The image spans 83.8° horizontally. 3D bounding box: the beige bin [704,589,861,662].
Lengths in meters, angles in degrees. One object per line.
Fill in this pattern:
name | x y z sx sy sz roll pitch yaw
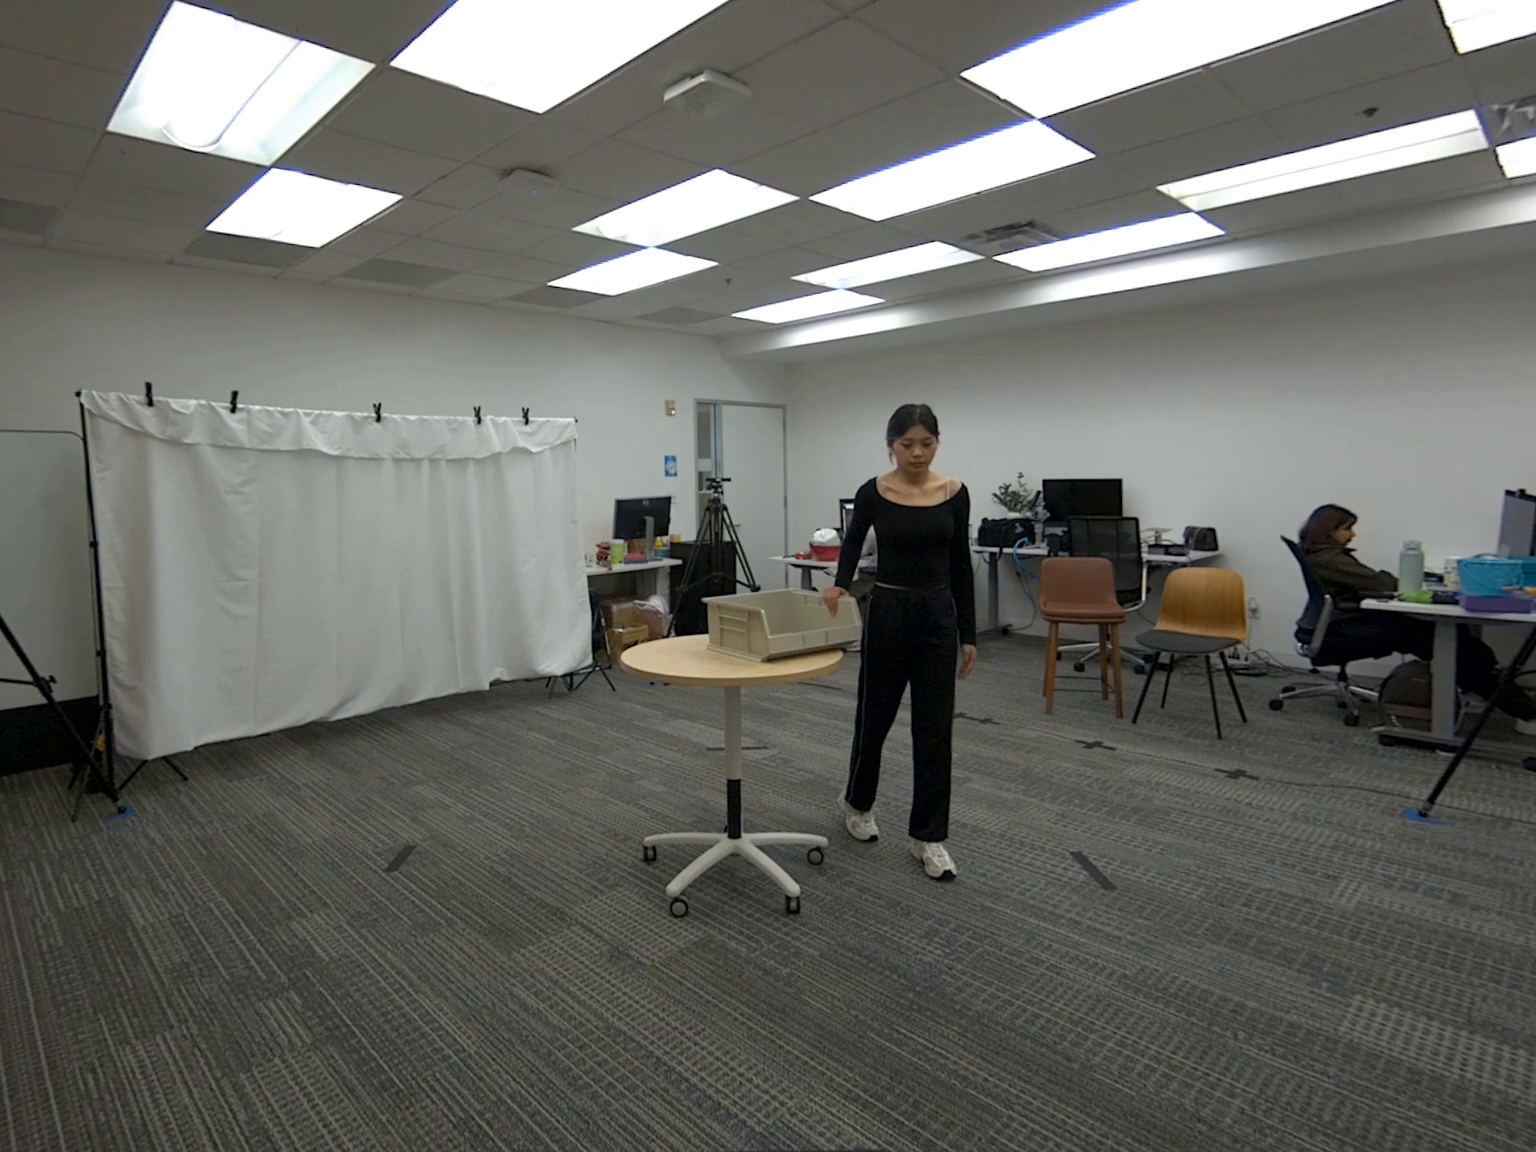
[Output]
beige bin | 0.049 0.164 3.013 0.412 0.188 0.388 -6 6 -37
